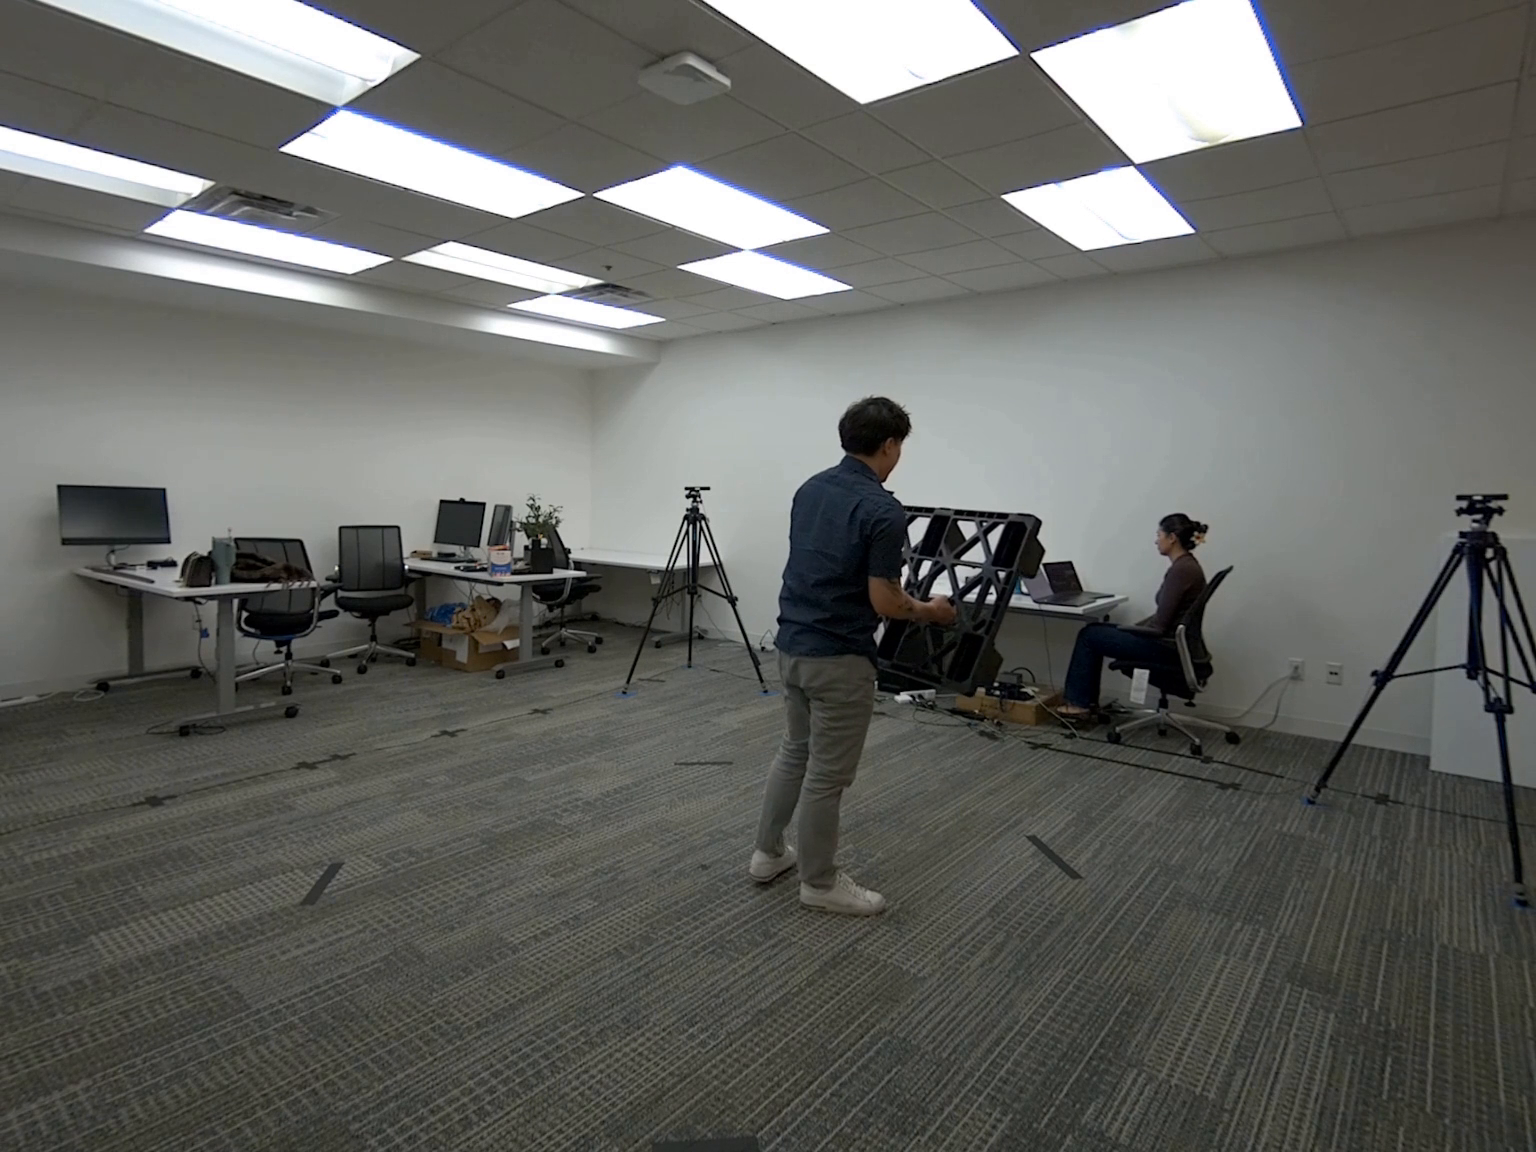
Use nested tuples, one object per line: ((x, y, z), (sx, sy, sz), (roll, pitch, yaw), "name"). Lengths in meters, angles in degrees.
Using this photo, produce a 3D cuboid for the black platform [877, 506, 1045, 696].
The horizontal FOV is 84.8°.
((0.535, 0.055, 2.956), (0.138, 0.607, 0.831), (29, -9, -31), "black platform")
